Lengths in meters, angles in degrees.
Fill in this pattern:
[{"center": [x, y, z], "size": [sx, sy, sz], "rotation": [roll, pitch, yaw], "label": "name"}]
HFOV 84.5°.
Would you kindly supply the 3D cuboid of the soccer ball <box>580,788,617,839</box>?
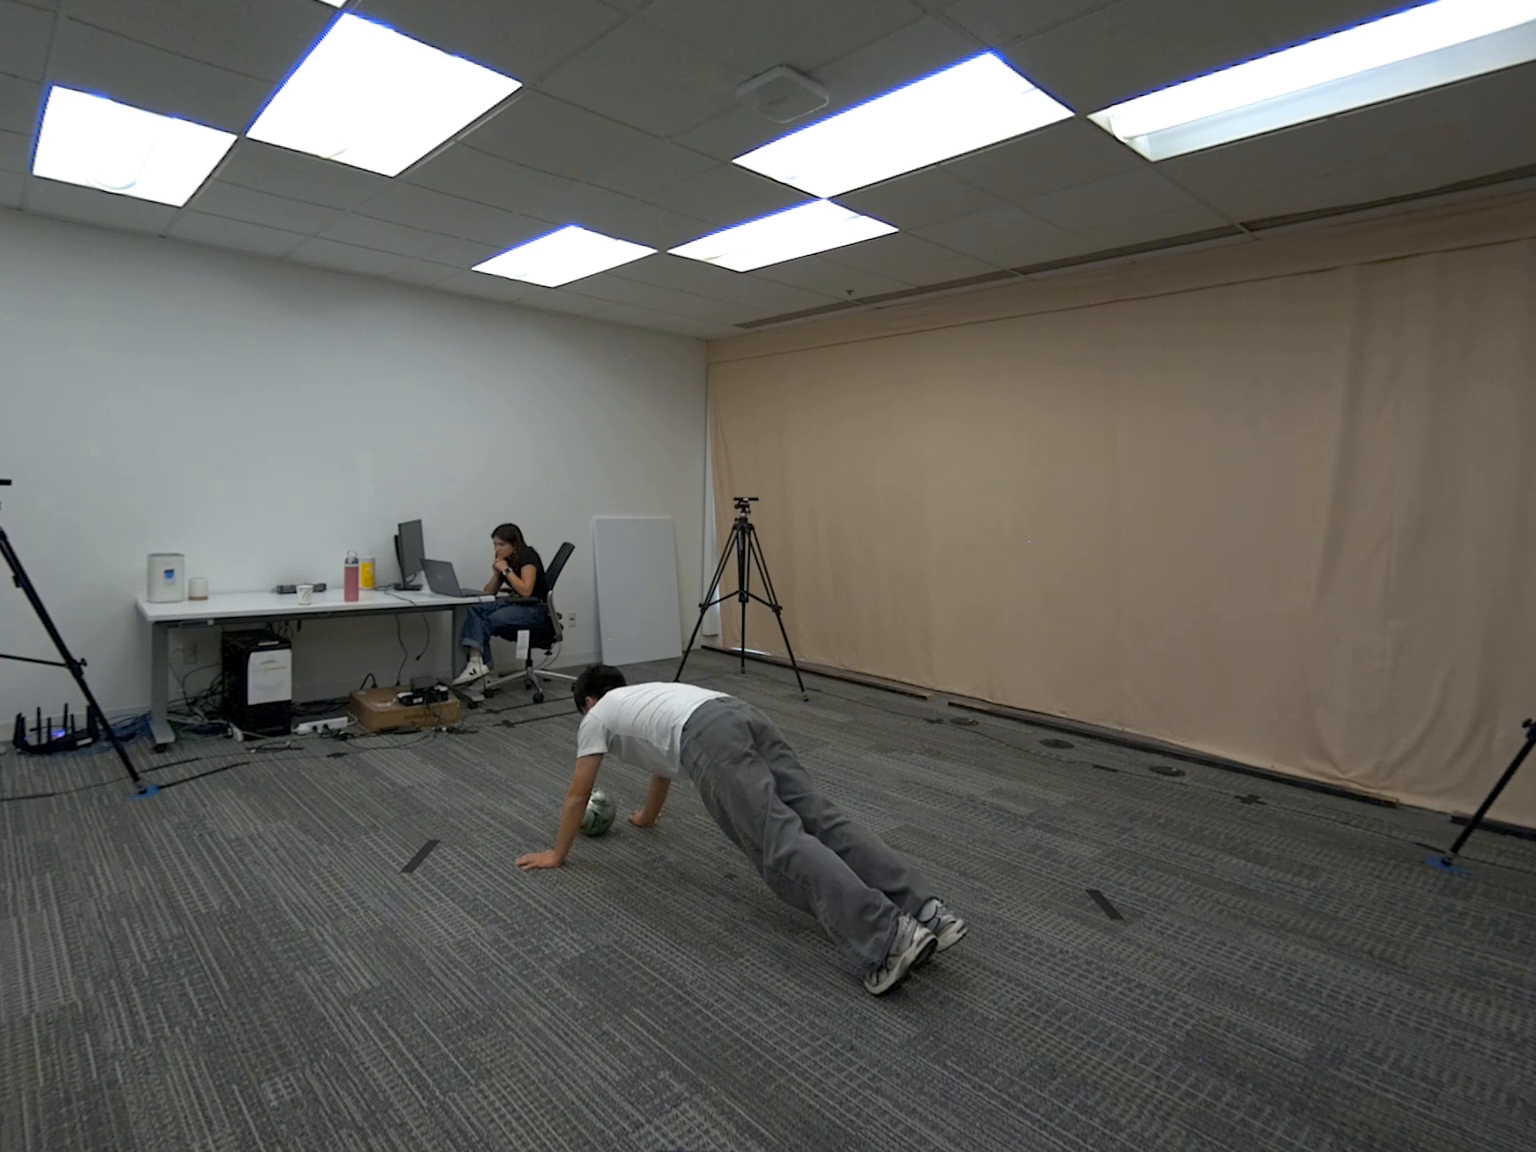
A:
[{"center": [-0.730, 0.972, 3.464], "size": [0.187, 0.187, 0.188], "rotation": [1, 4, -1], "label": "soccer ball"}]
